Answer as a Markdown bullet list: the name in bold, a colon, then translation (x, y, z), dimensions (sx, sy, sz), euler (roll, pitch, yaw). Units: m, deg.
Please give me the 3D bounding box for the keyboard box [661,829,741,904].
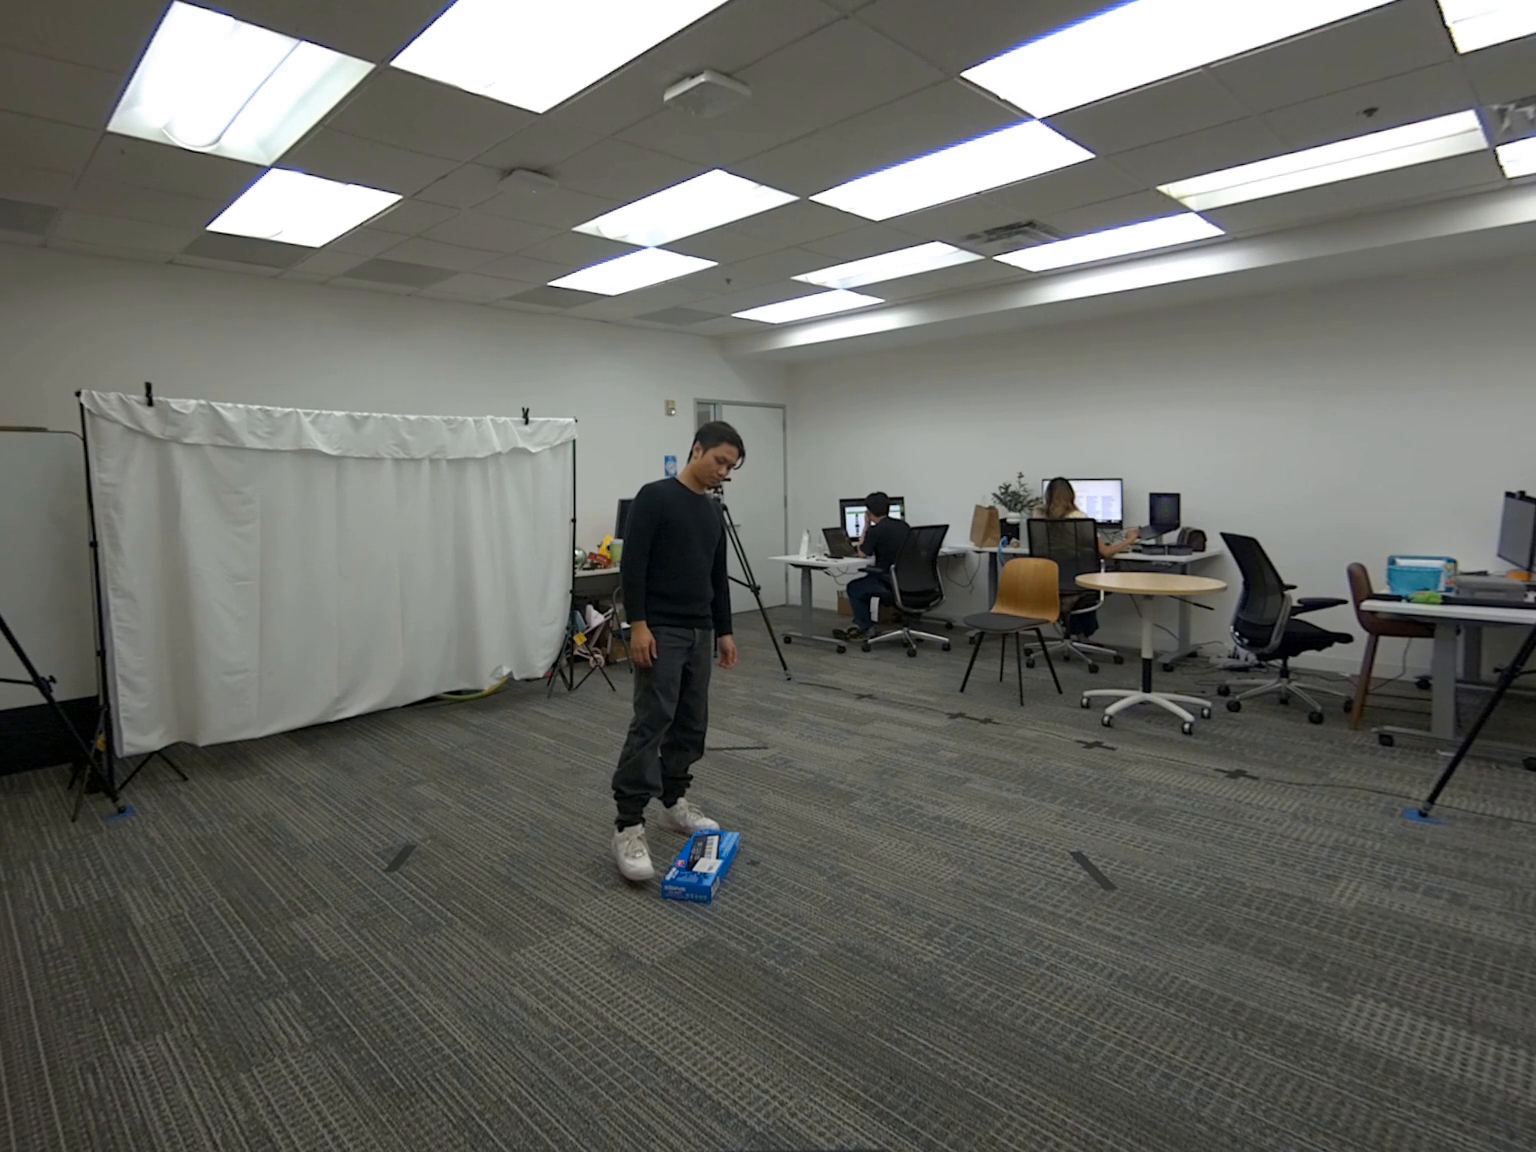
- **keyboard box**: translation (-0.227, 1.019, 3.047), dimensions (0.178, 0.059, 0.433), euler (1, 7, 12)
